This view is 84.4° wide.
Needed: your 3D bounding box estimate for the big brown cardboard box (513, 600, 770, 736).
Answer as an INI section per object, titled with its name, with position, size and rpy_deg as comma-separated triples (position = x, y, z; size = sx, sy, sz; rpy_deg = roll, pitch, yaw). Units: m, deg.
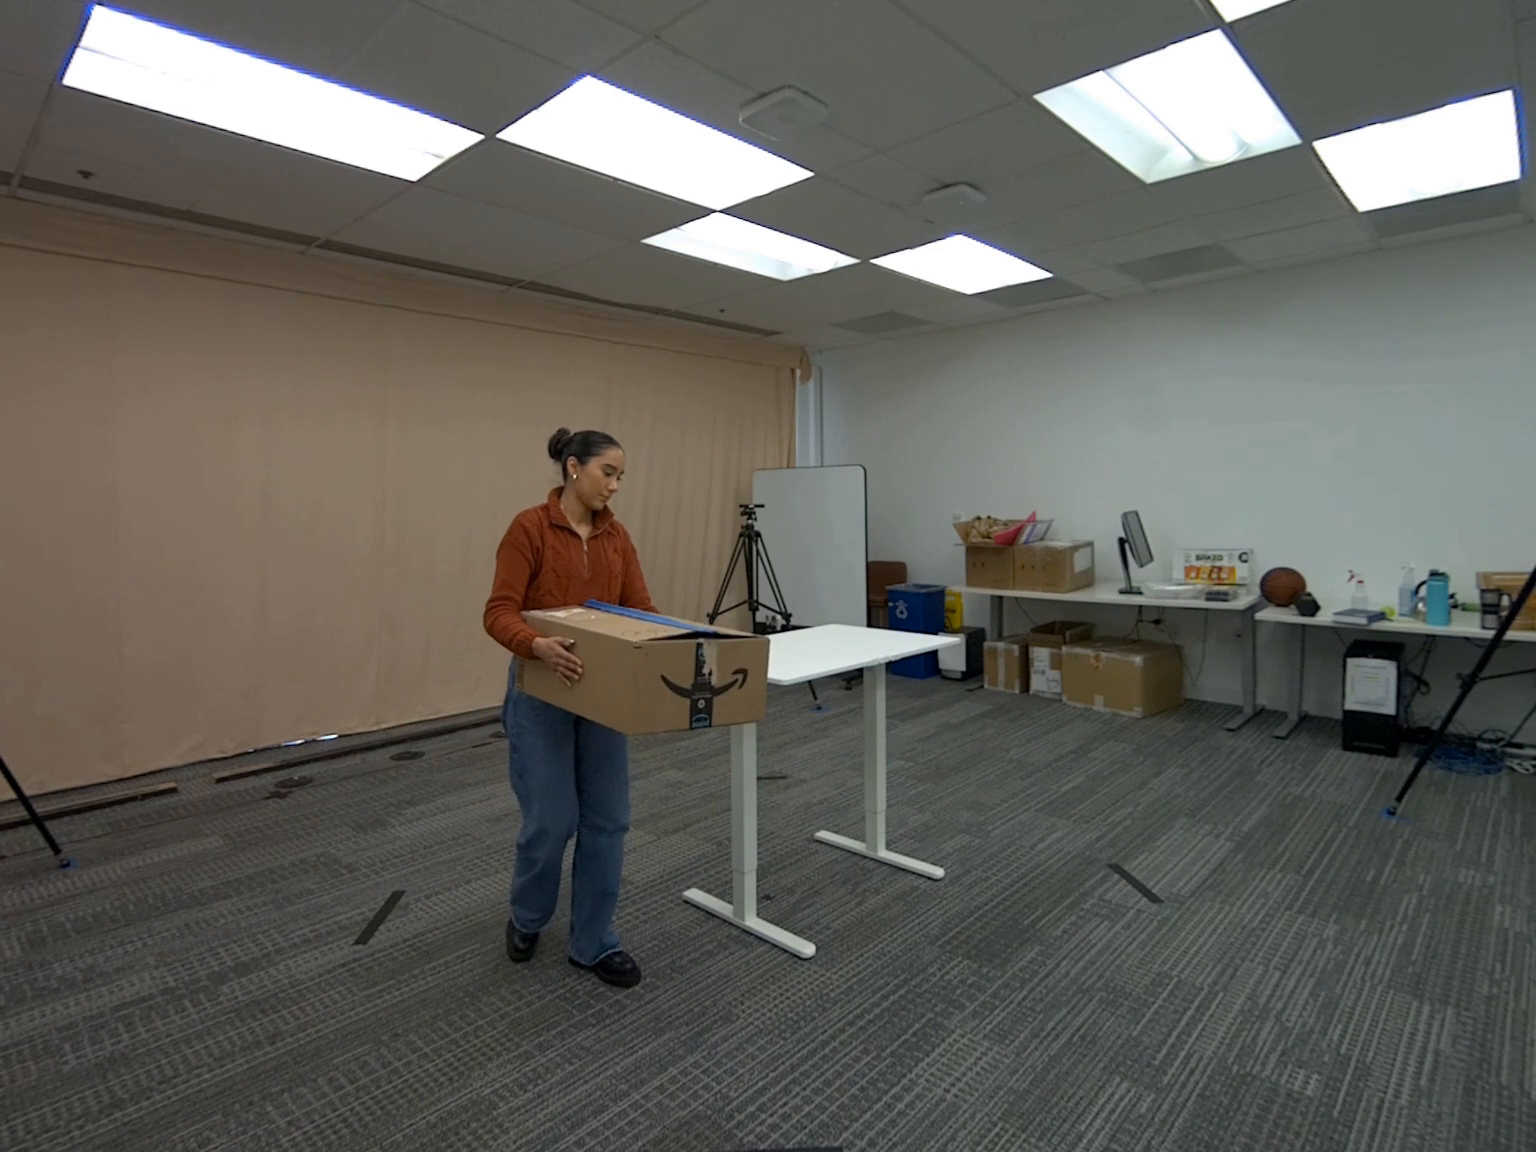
[big brown cardboard box]
position = -0.341, 0.238, 2.215
size = 0.404, 0.233, 0.609
rpy_deg = 0, 6, -42
